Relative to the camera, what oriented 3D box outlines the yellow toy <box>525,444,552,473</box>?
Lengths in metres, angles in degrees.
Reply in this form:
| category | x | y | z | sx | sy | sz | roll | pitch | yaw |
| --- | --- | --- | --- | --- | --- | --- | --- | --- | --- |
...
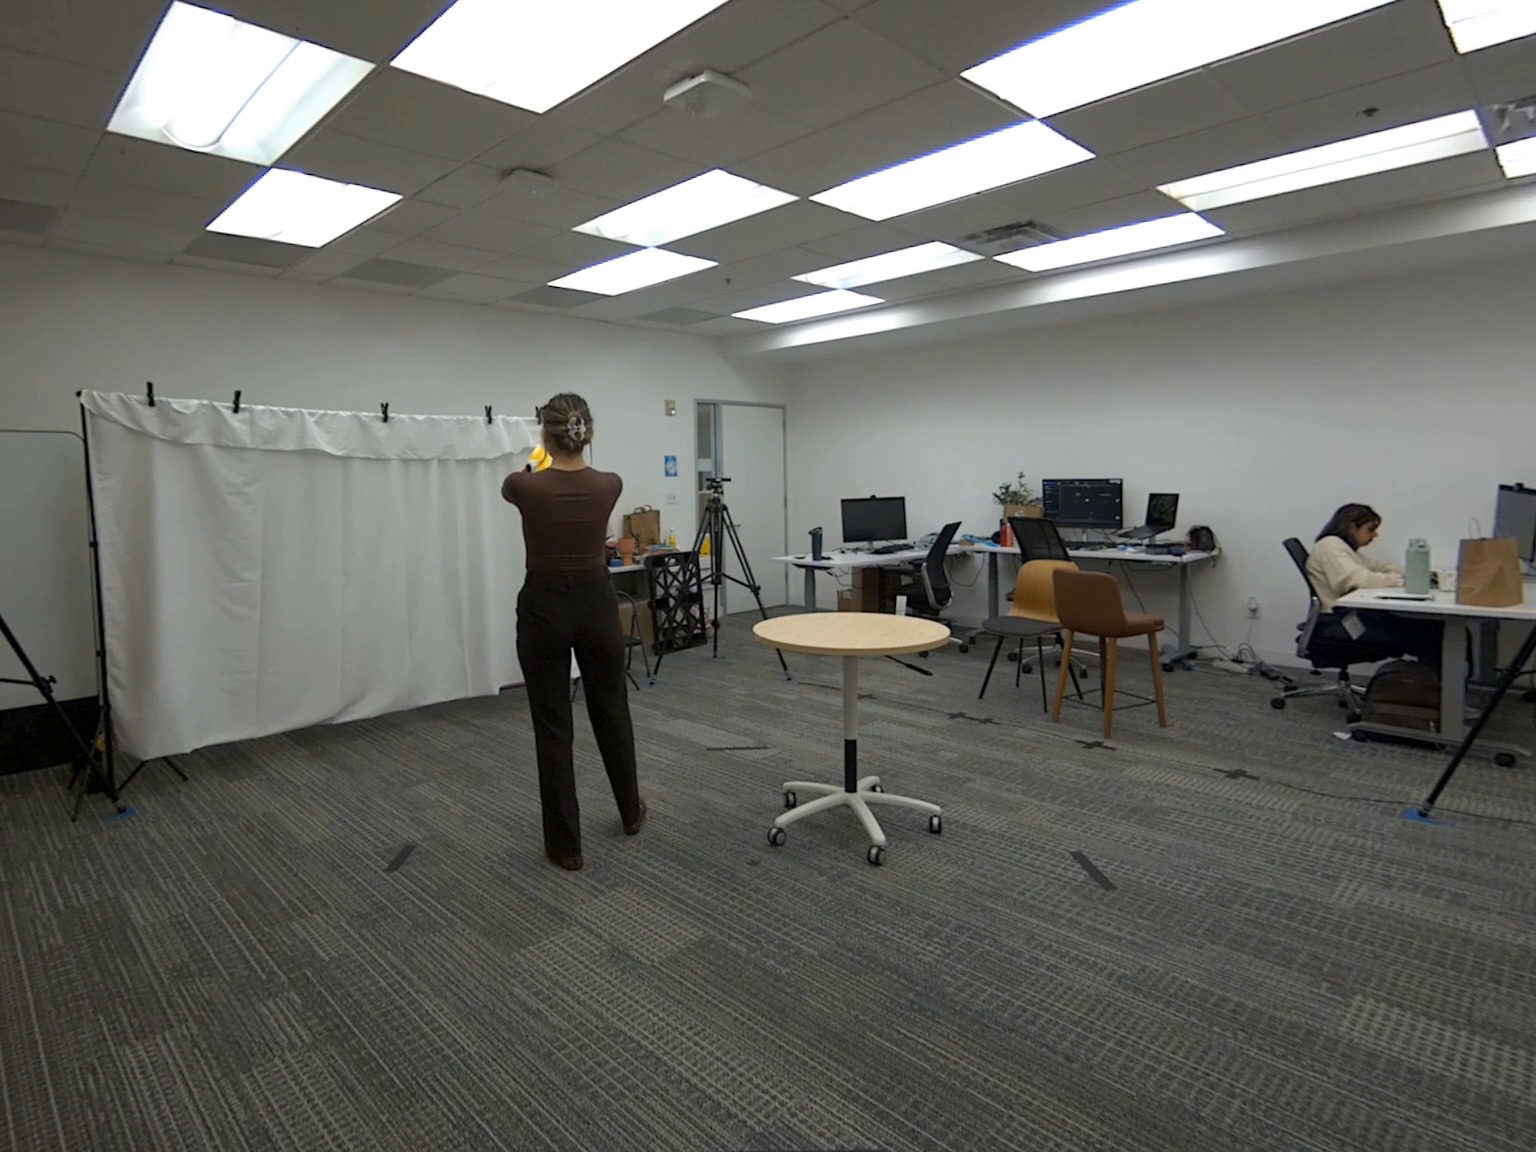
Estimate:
| category | x | y | z | sx | sy | sz | roll | pitch | yaw |
| --- | --- | --- | --- | --- | --- | --- | --- | --- | --- |
| yellow toy | -0.938 | -0.443 | 3.614 | 0.201 | 0.228 | 0.198 | -6 | 11 | -23 |
